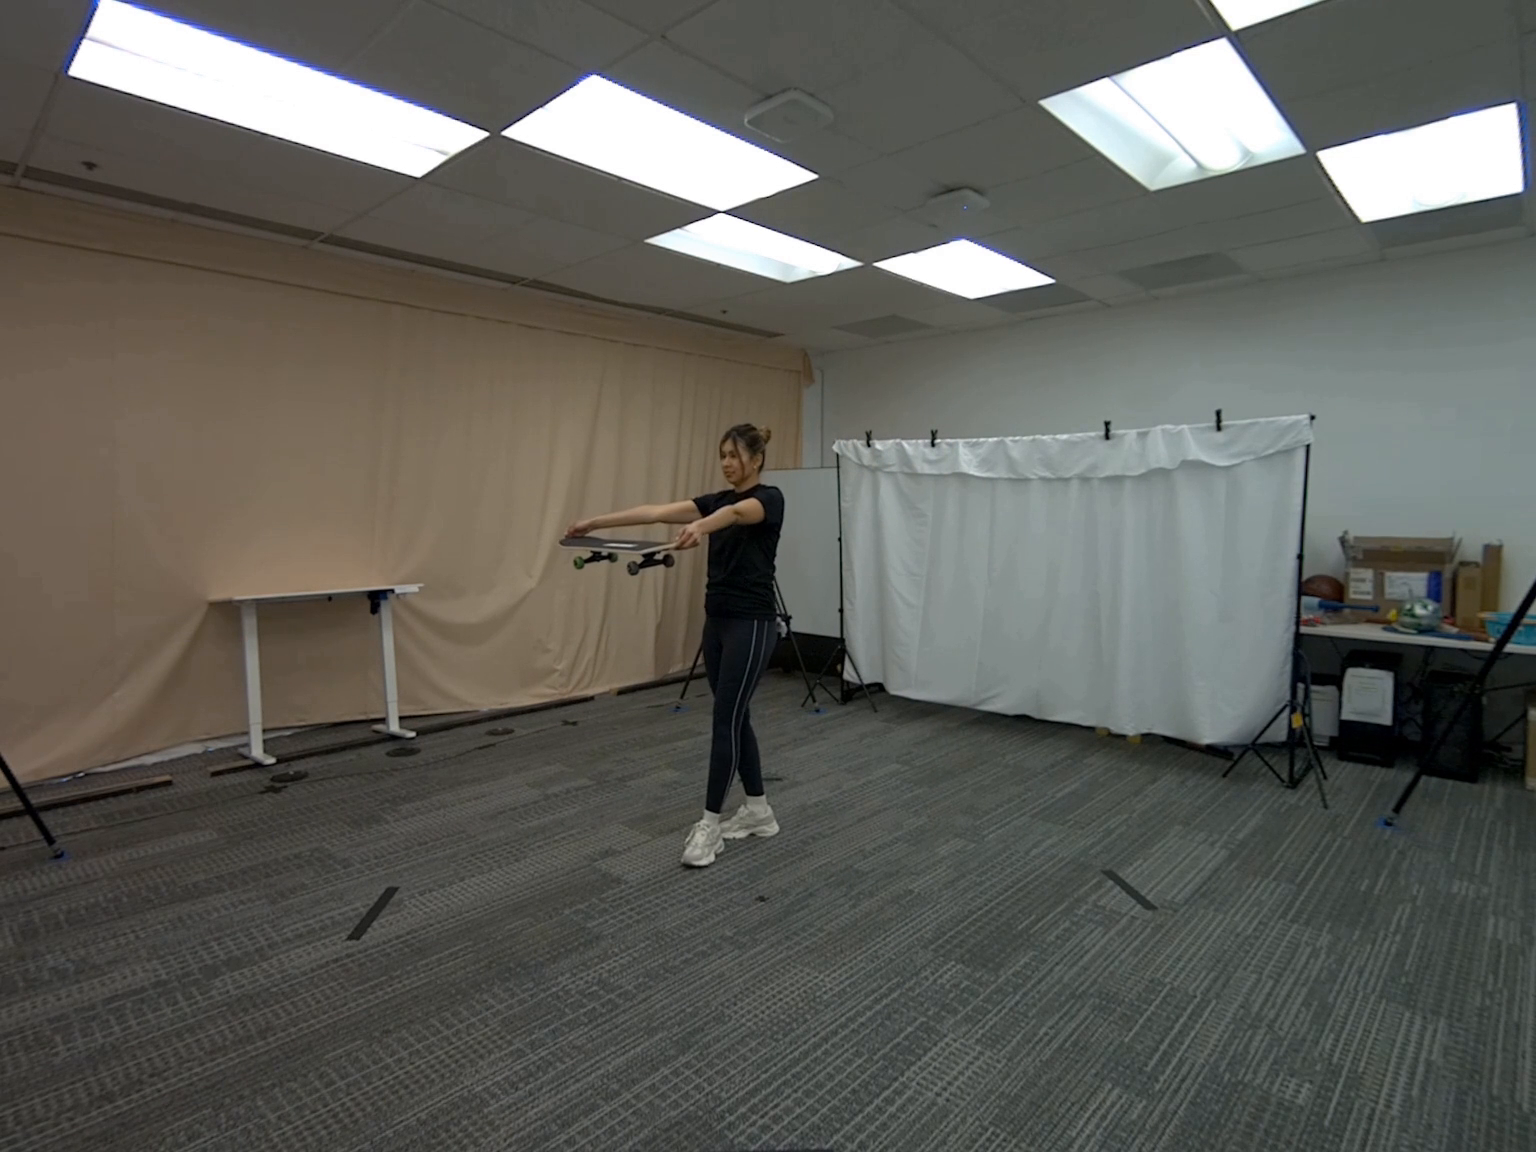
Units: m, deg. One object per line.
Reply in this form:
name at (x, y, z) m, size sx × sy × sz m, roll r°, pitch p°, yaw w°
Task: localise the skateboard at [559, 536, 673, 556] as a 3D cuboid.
skateboard at (-0.546, -0.081, 3.145) m, size 0.188 × 0.110 × 0.811 m, roll -14°, pitch 11°, yaw -38°
